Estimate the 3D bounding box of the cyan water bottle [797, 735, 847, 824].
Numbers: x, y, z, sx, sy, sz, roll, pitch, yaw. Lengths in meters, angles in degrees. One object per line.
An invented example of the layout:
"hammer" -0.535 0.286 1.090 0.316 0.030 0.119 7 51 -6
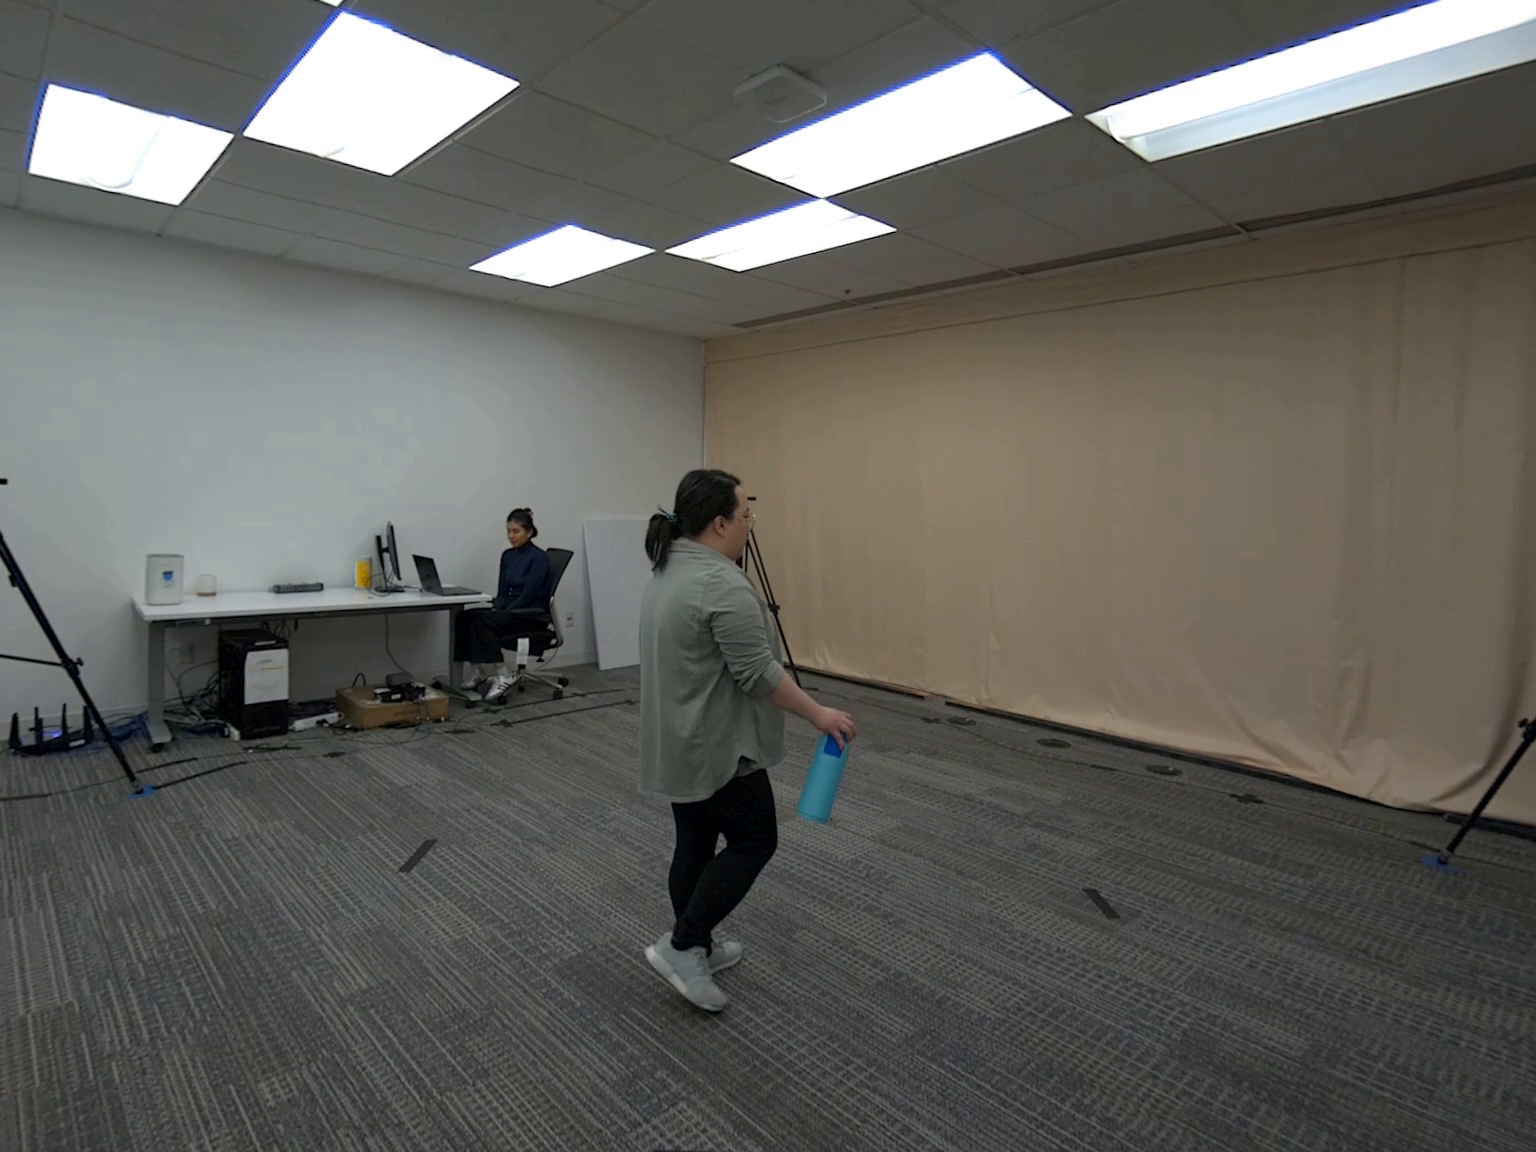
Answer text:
"cyan water bottle" 0.149 0.520 2.259 0.092 0.284 0.092 16 -9 1
